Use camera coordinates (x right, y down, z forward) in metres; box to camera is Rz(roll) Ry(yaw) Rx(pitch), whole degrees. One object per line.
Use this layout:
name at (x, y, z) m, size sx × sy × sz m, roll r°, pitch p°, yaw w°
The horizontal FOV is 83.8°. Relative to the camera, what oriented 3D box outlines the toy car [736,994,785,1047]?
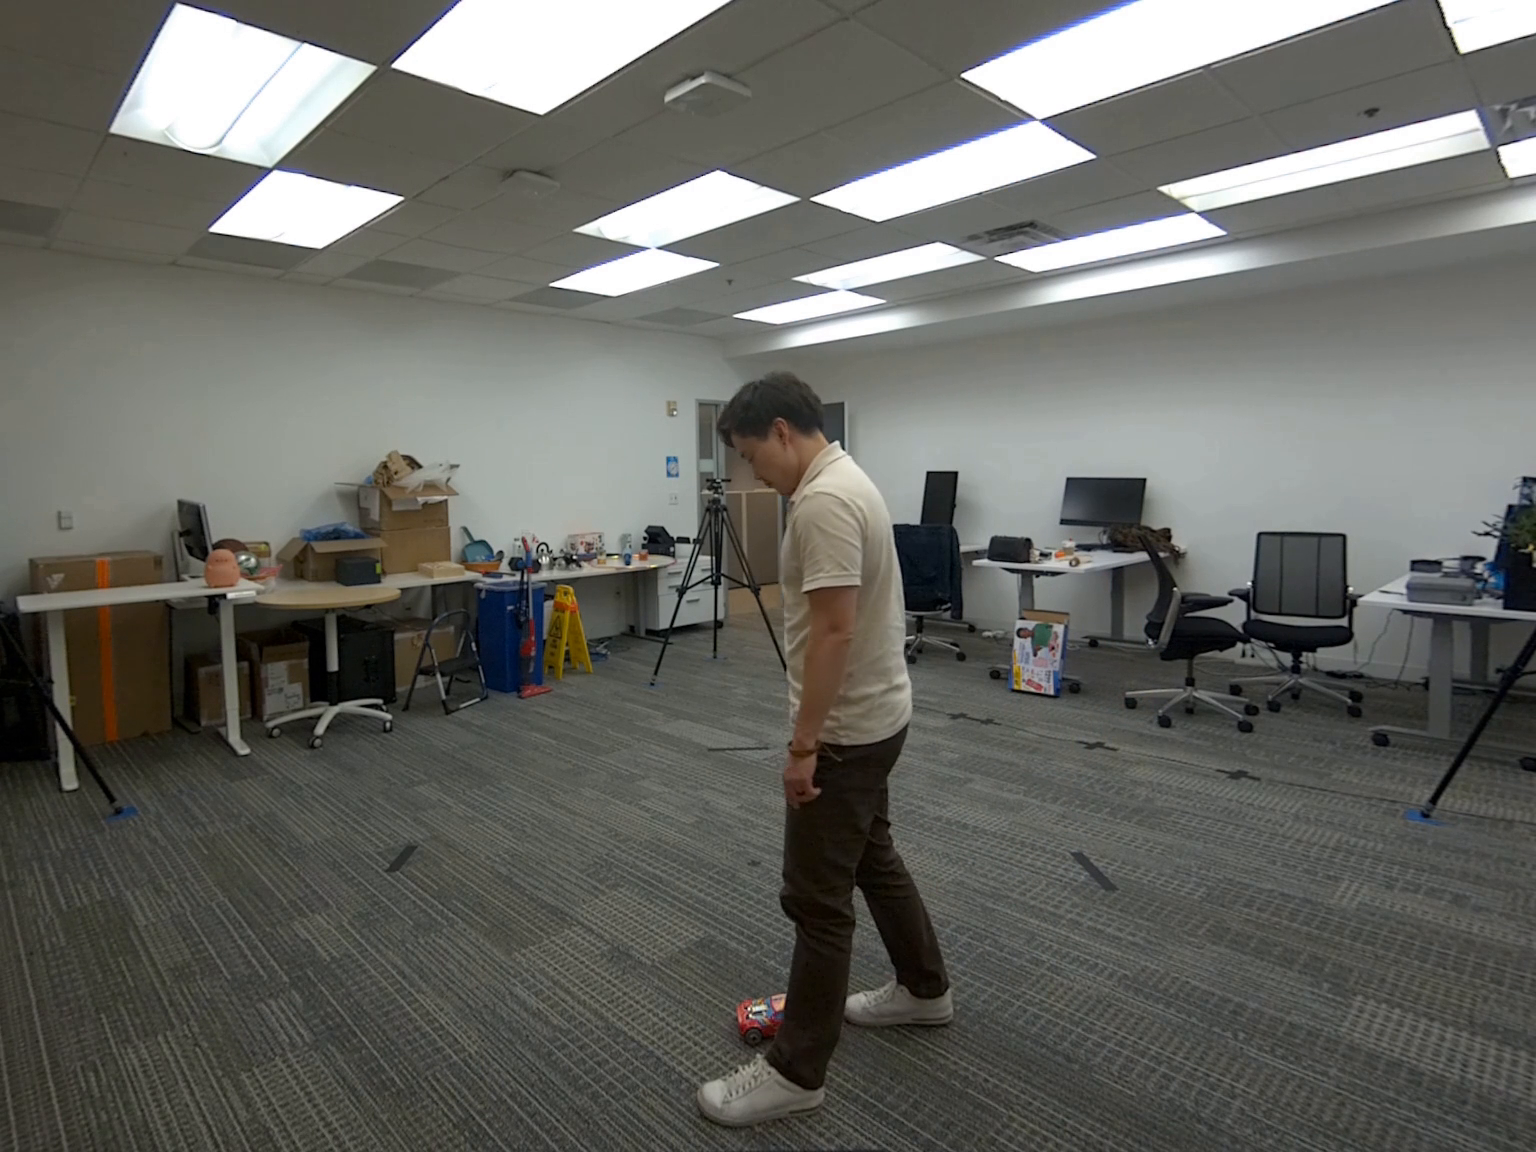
toy car at (0.057, 1.124, 2.172) m, size 0.253 × 0.083 × 0.132 m, roll -12°, pitch 7°, yaw -5°
